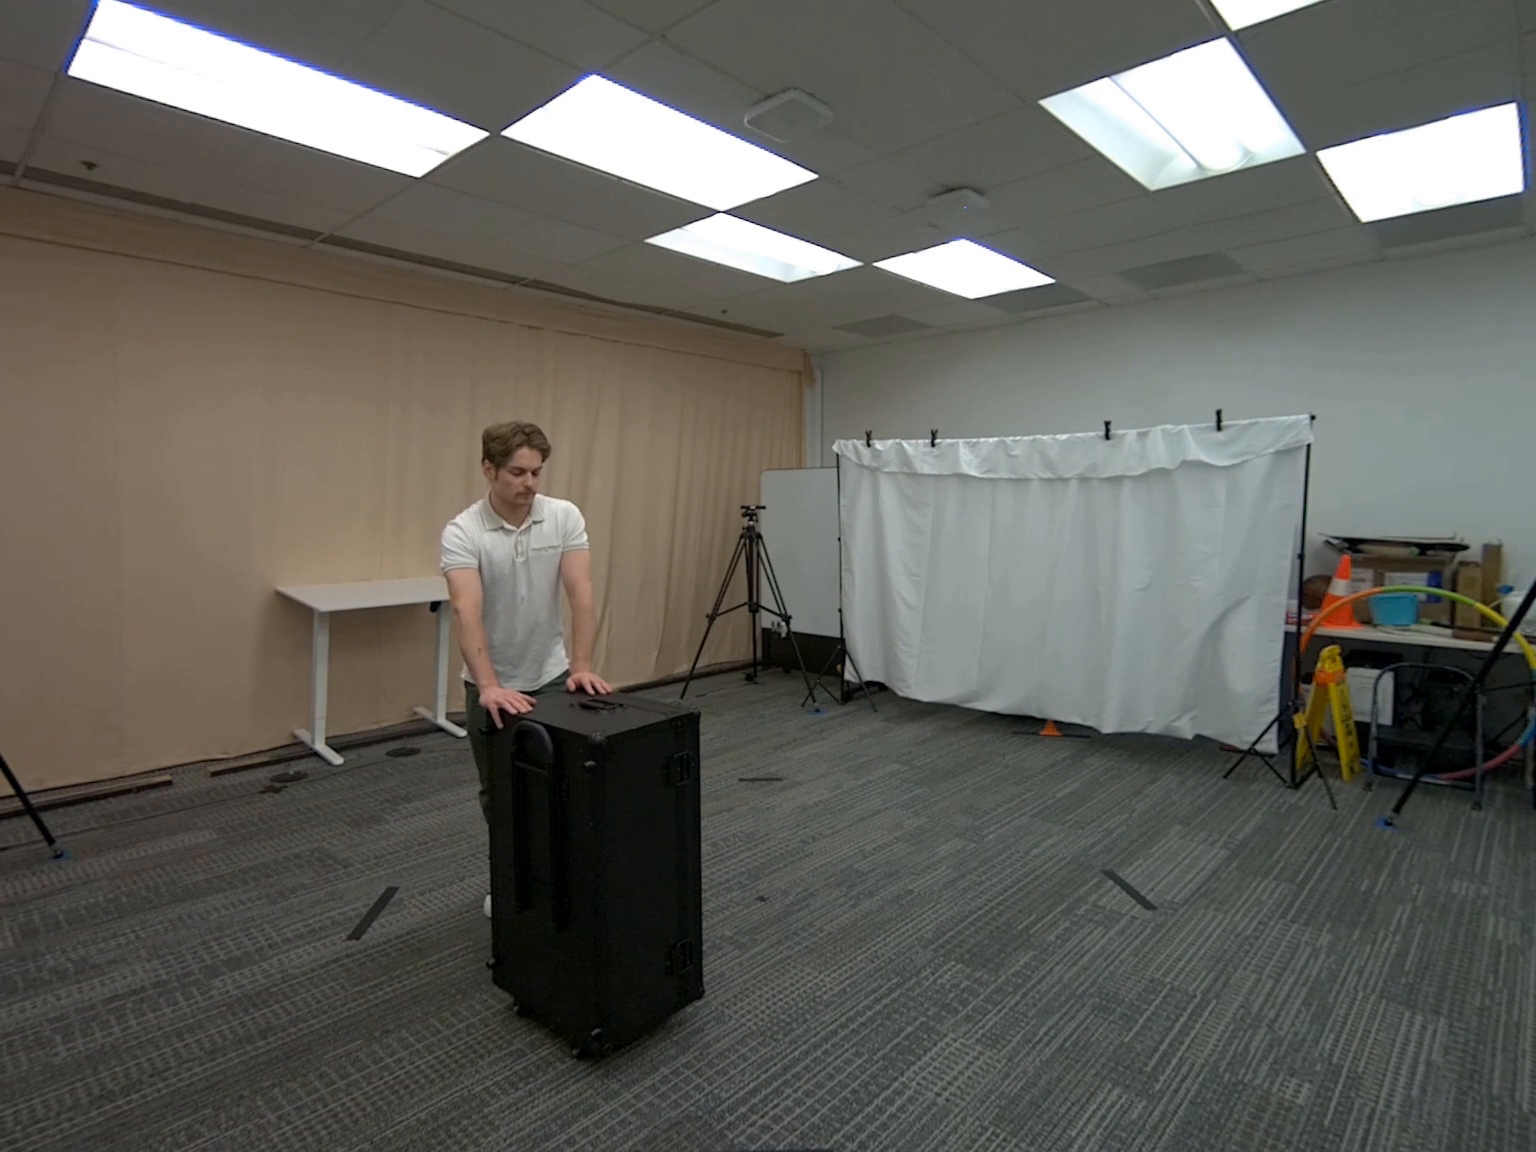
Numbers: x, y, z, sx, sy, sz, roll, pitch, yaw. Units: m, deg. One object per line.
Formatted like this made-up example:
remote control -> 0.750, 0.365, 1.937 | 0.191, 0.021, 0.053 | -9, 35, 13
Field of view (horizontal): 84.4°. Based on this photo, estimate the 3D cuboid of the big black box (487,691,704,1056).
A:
big black box -> -0.464, 0.783, 2.276 | 0.540, 0.867, 0.373 | 2, 4, 41
